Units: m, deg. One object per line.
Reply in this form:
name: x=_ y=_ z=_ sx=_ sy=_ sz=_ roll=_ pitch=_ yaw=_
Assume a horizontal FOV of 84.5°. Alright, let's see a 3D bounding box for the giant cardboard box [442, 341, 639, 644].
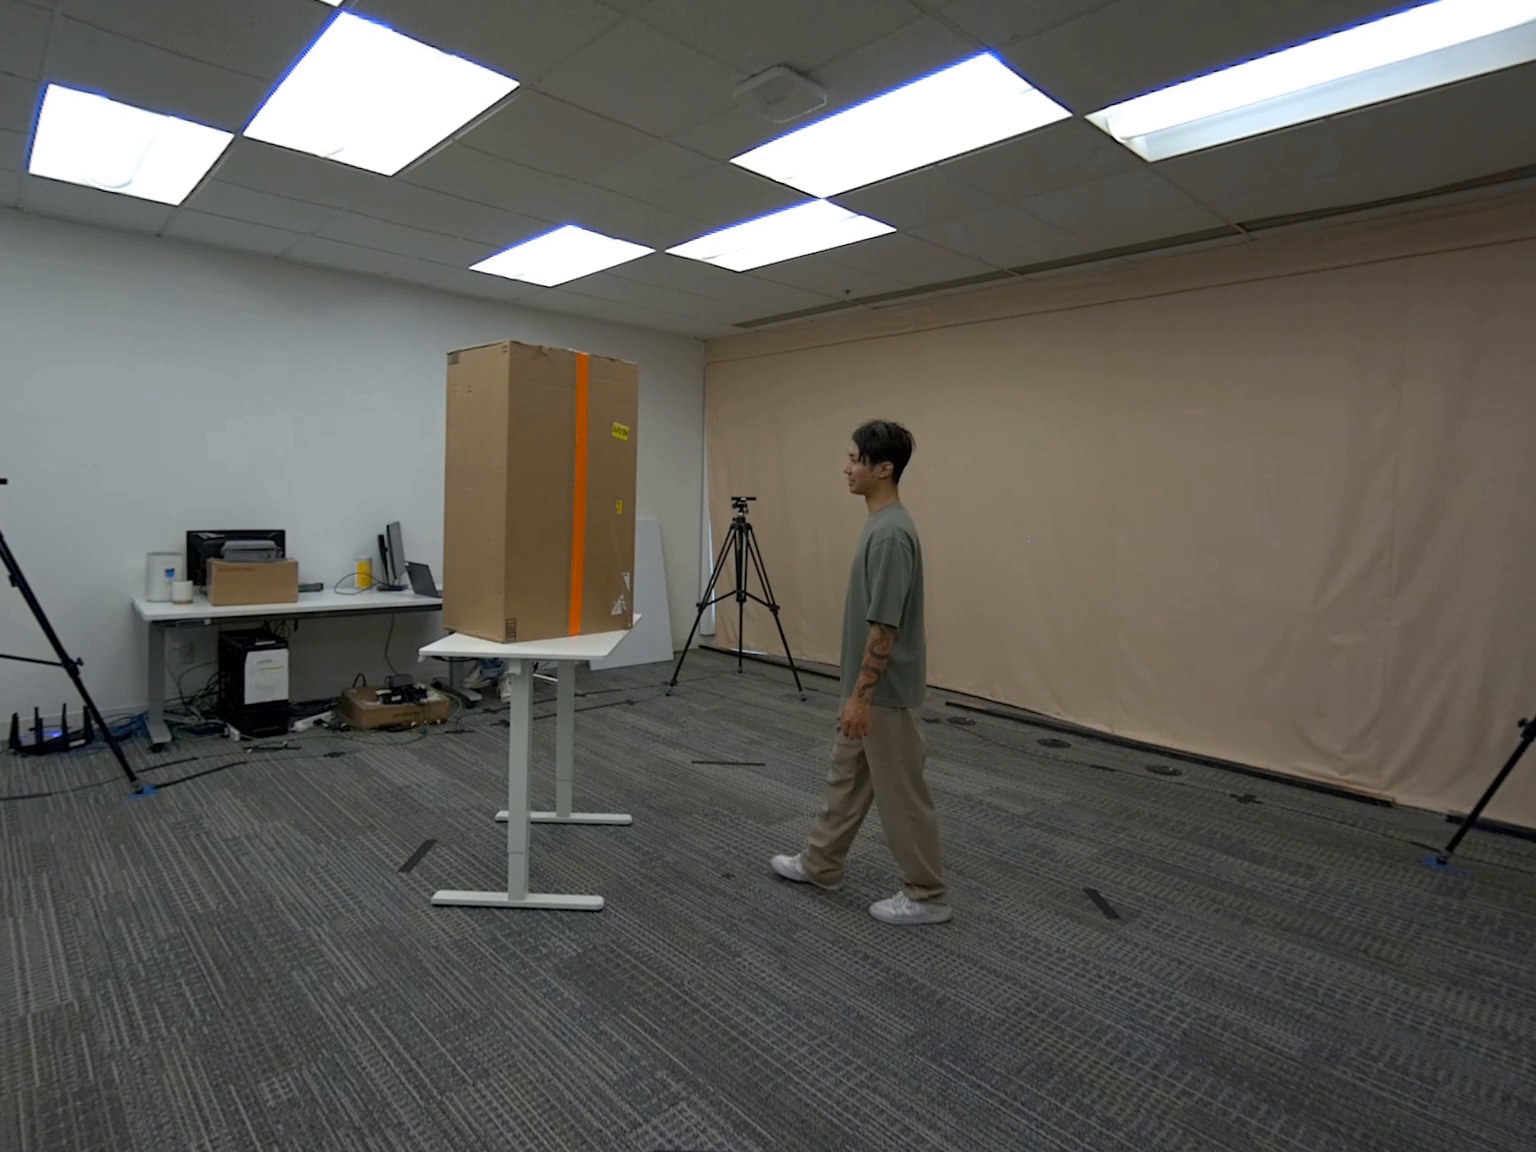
giant cardboard box: x=-0.856 y=-0.308 z=3.168 sx=0.437 sy=1.023 sz=0.564 roll=5 pitch=4 yaw=41
